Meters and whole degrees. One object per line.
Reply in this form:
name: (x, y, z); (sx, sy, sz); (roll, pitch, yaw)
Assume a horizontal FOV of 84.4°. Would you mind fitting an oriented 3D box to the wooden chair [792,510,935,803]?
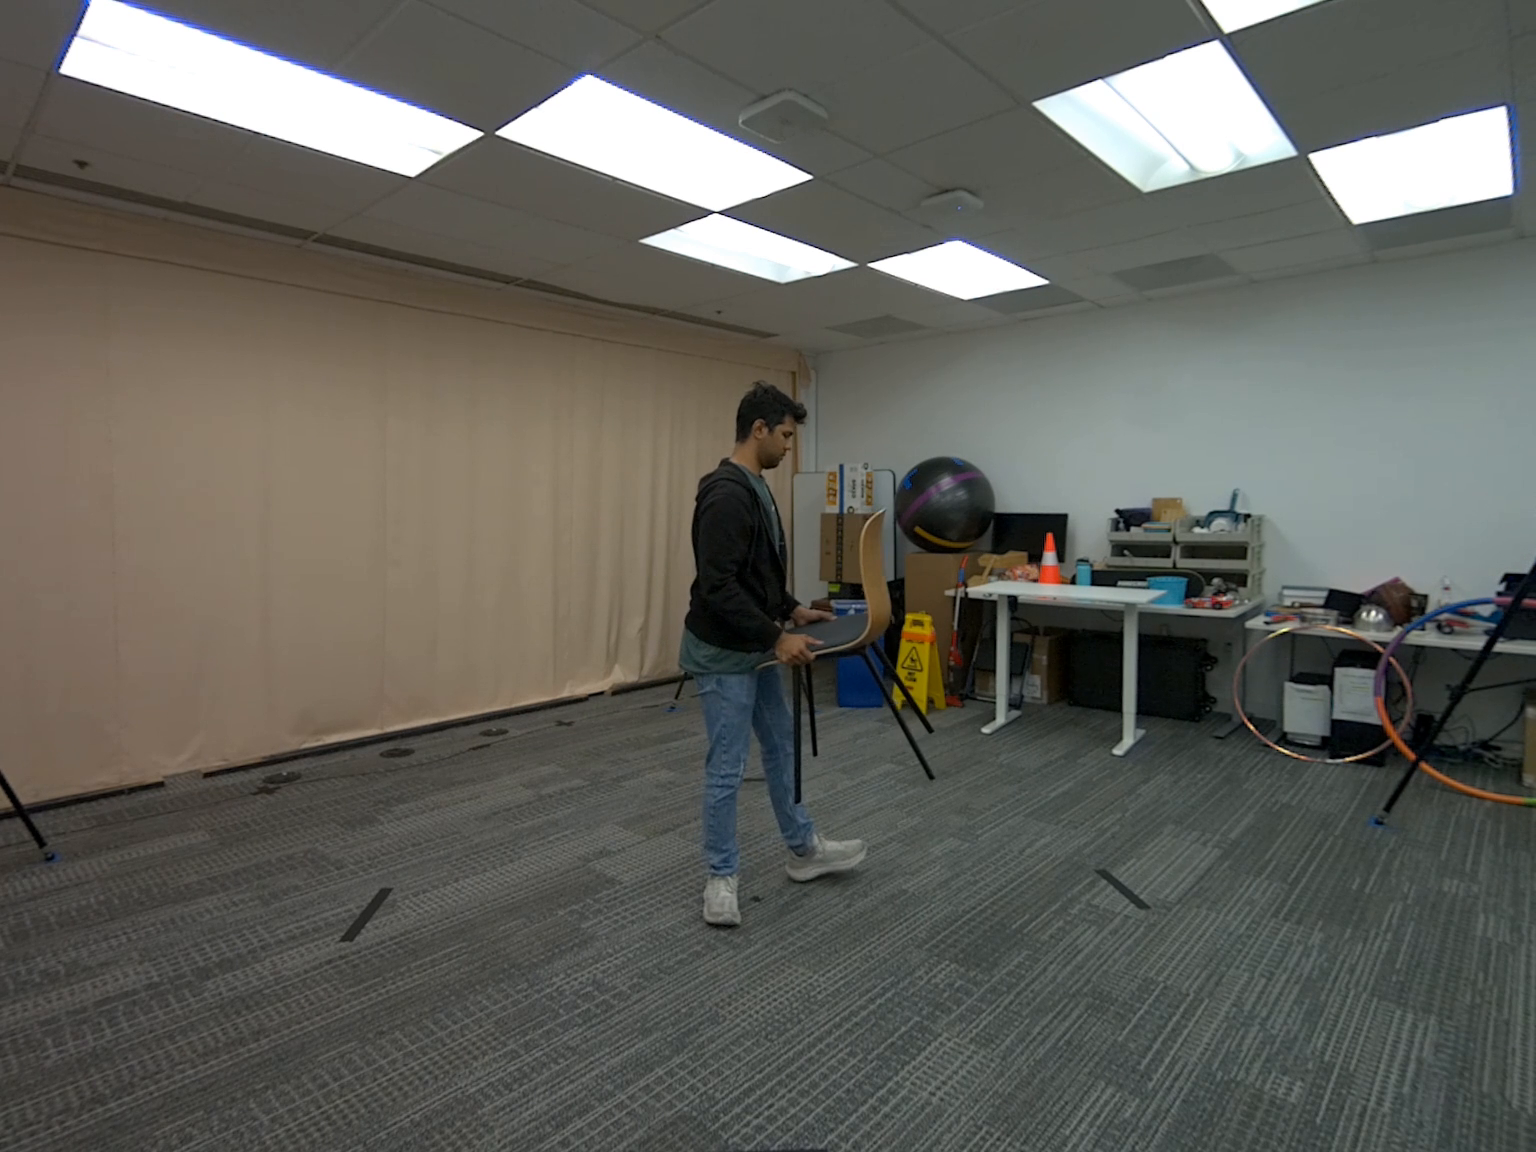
wooden chair: (0.229, 0.253, 2.858); (0.530, 0.875, 0.473); (-11, 4, 14)
